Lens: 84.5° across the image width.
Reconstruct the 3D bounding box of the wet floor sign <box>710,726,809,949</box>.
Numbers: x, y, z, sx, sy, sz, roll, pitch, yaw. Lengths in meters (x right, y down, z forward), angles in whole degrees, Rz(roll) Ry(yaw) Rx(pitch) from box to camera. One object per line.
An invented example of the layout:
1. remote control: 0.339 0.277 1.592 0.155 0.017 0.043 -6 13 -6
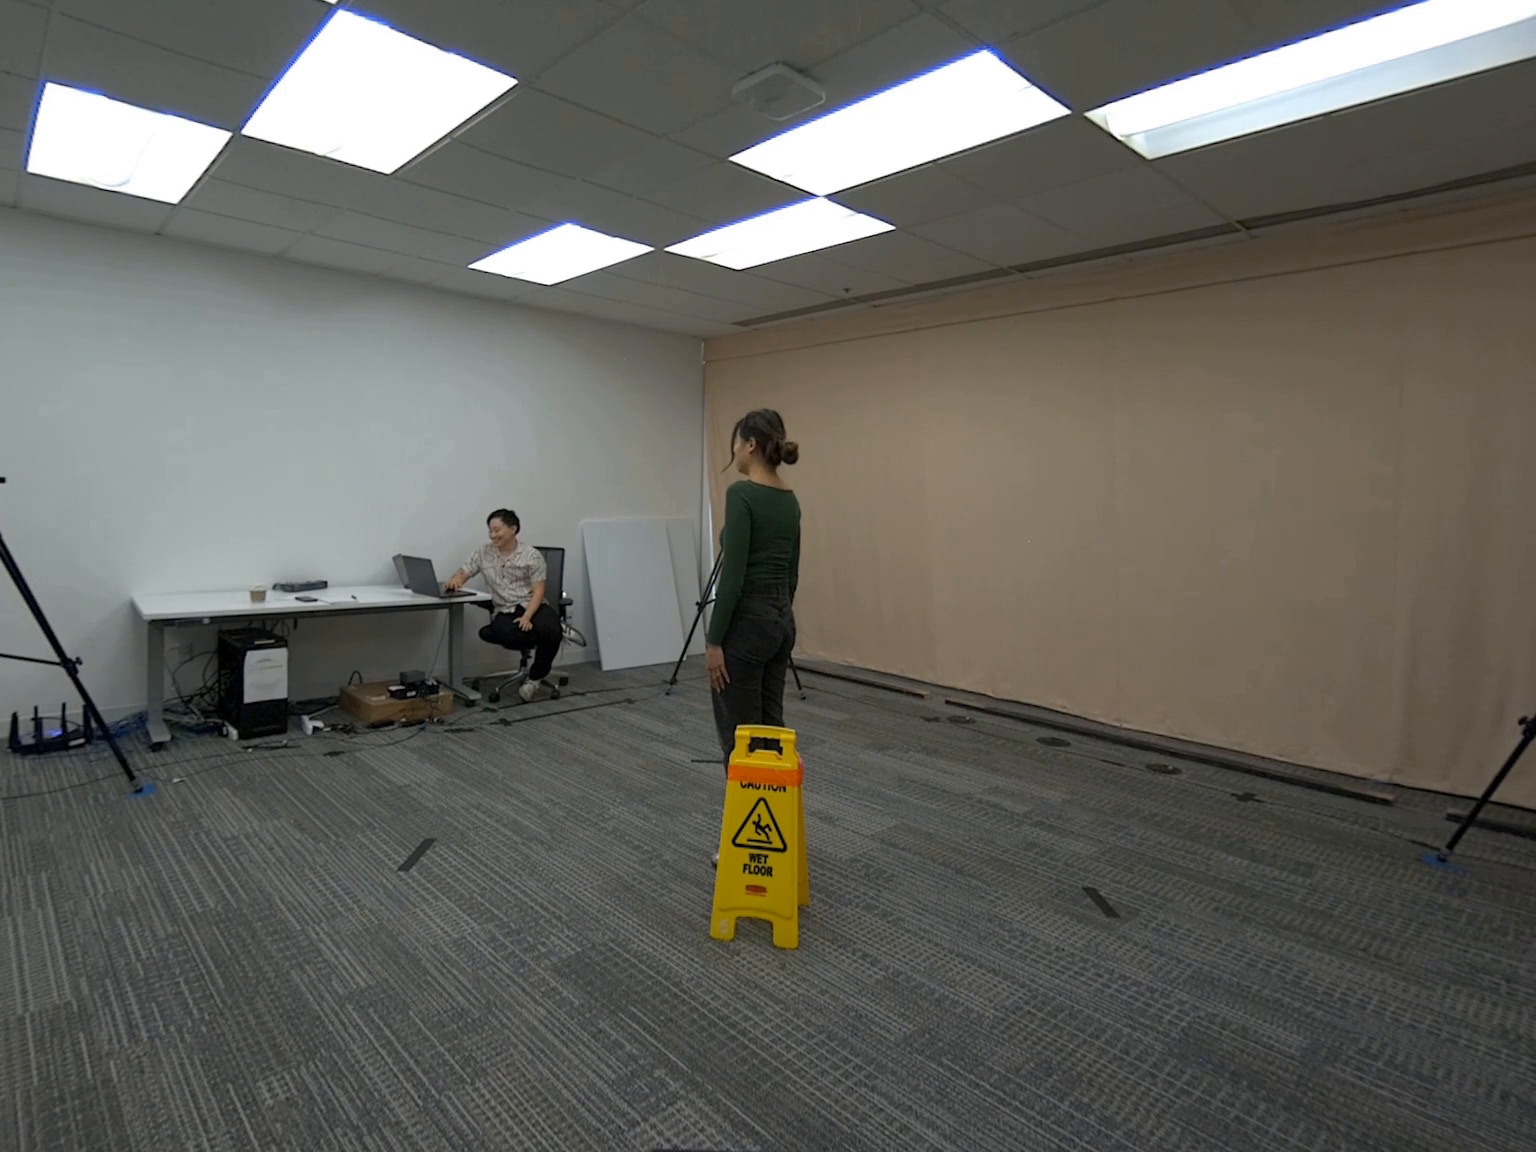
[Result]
1. wet floor sign: -0.016 0.817 2.752 0.285 0.644 0.288 4 3 10
